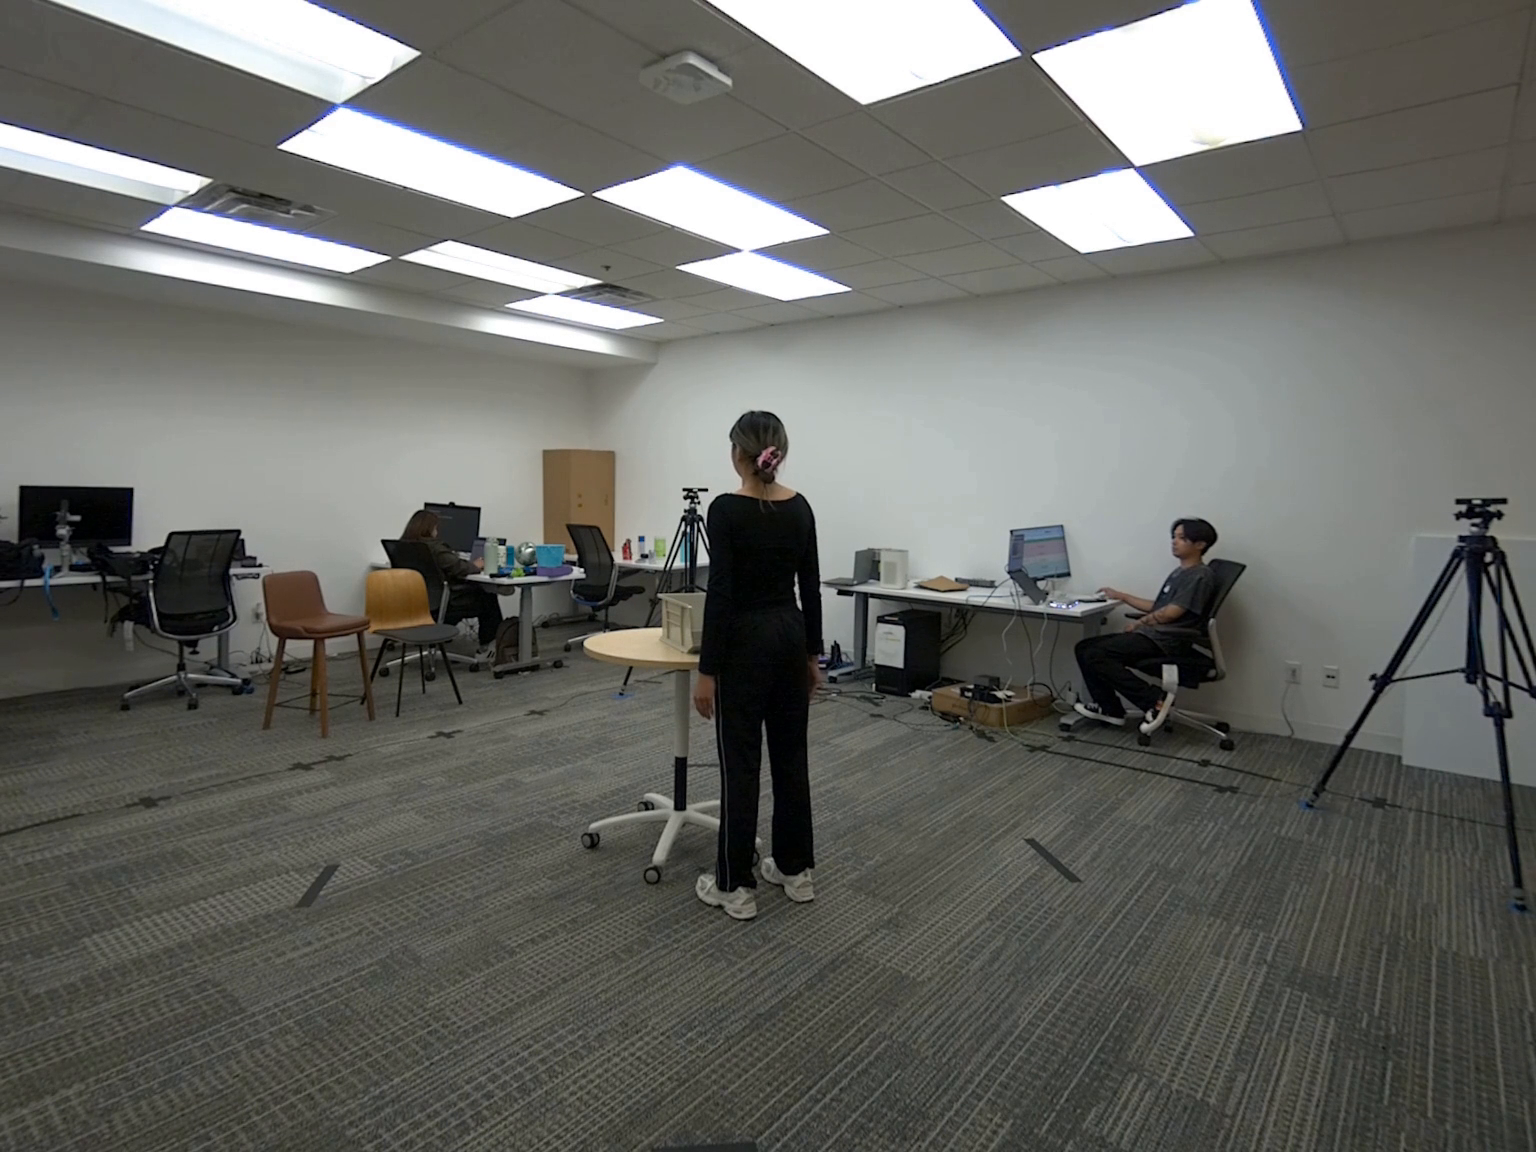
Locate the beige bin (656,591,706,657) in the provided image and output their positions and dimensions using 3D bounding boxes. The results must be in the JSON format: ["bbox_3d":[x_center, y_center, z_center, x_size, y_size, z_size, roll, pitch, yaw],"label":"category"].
[{"bbox_3d":[-0.174,0.172,3.258,0.413,0.188,0.387,-1,4,-24],"label":"beige bin"}]
